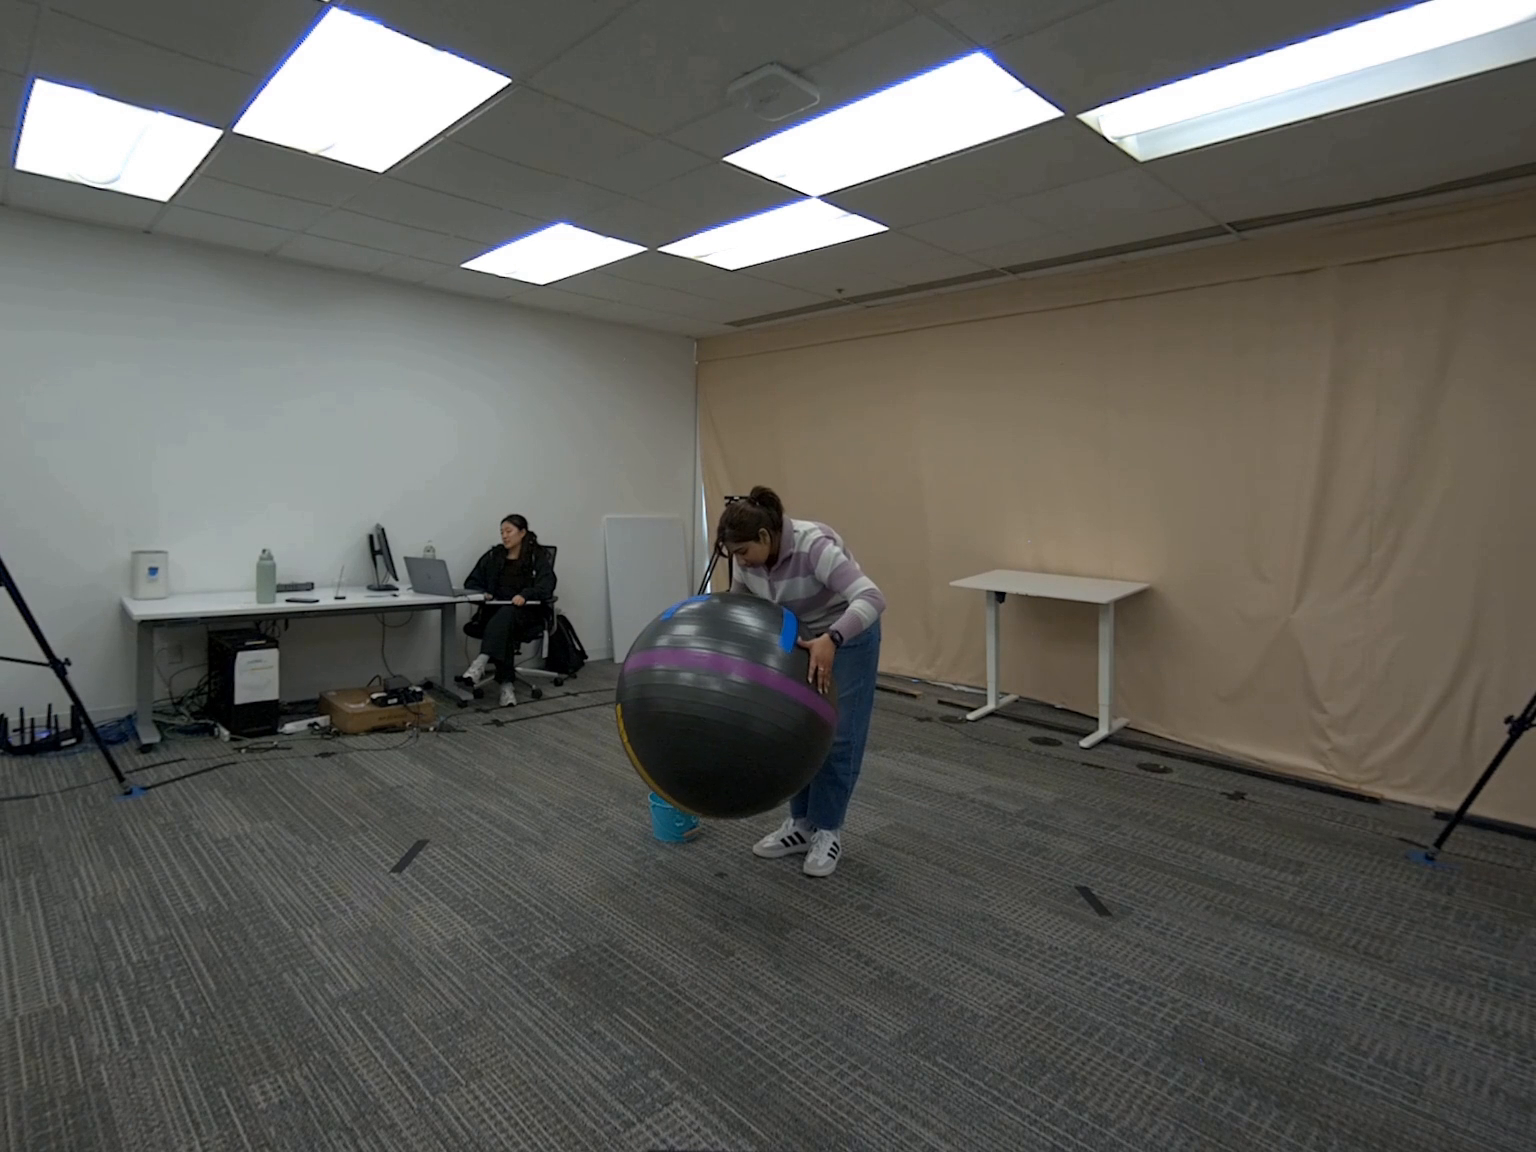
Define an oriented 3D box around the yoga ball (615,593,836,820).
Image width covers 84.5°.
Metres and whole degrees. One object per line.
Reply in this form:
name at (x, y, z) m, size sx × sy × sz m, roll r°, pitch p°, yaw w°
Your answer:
yoga ball at (-0.144, 0.448, 2.878) m, size 0.757 × 0.756 × 0.761 m, roll 1°, pitch 4°, yaw -1°
